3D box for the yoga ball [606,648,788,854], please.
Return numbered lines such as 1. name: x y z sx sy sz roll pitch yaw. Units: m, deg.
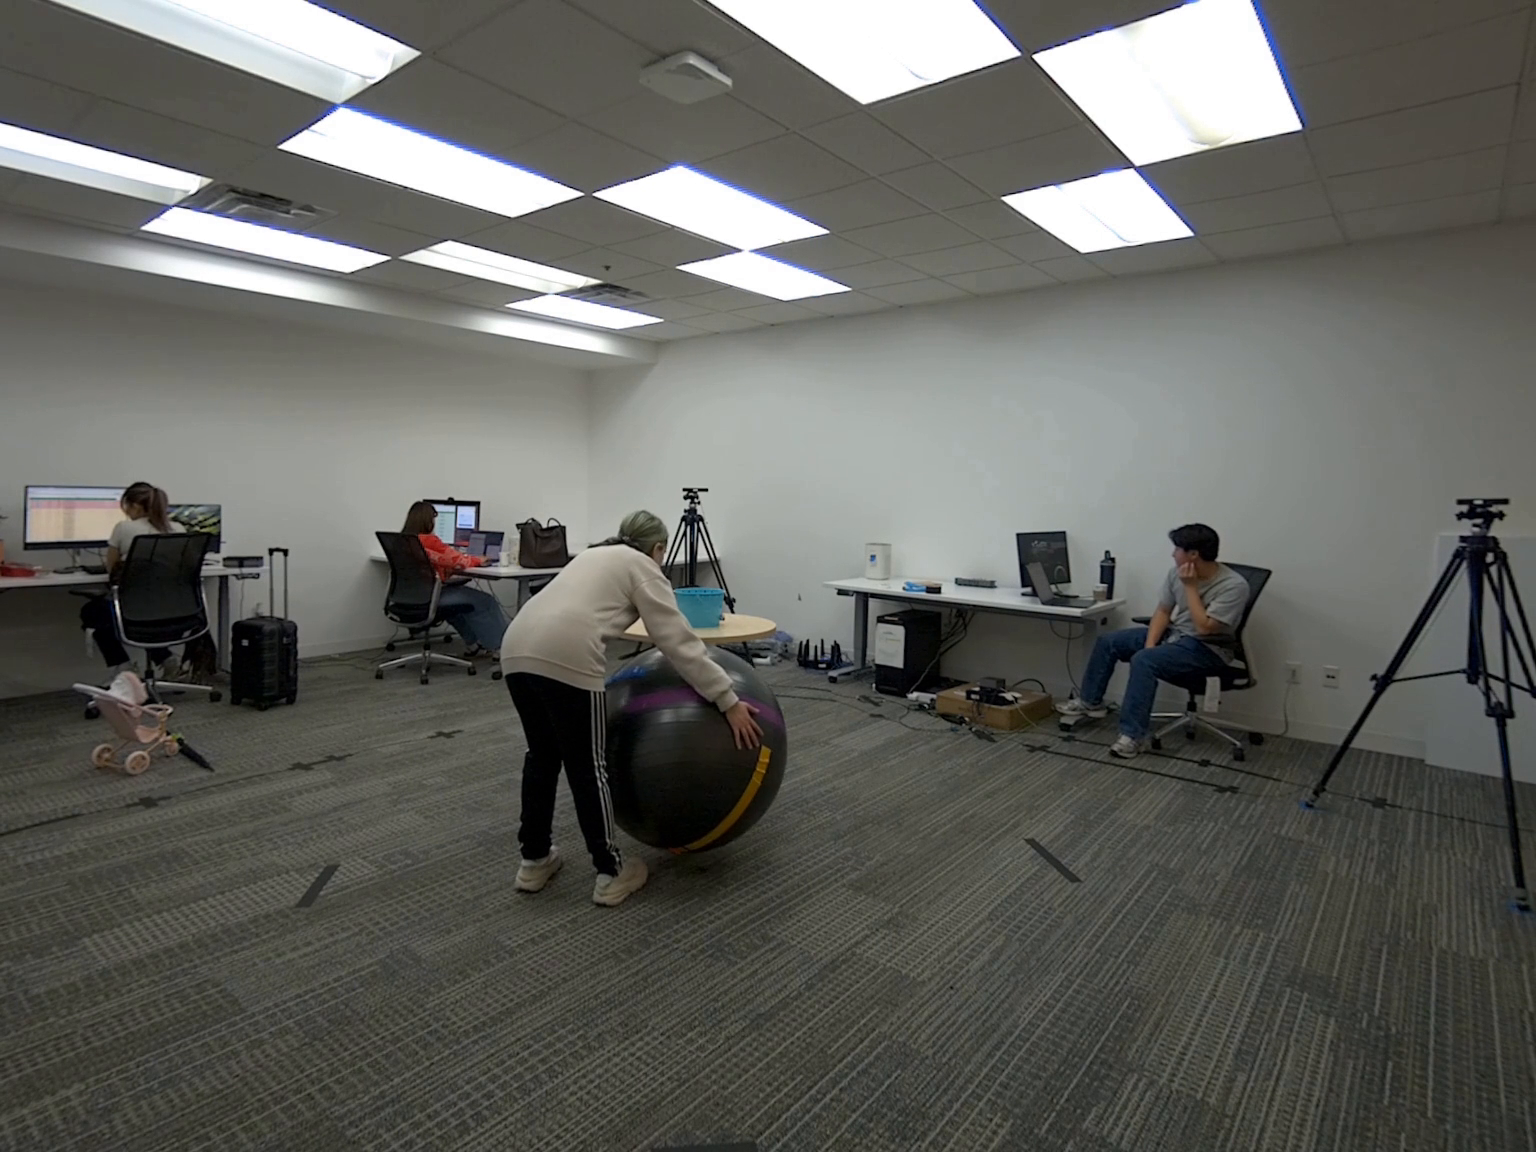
1. yoga ball: -0.319 0.628 3.170 0.757 0.756 0.762 1 4 -2
